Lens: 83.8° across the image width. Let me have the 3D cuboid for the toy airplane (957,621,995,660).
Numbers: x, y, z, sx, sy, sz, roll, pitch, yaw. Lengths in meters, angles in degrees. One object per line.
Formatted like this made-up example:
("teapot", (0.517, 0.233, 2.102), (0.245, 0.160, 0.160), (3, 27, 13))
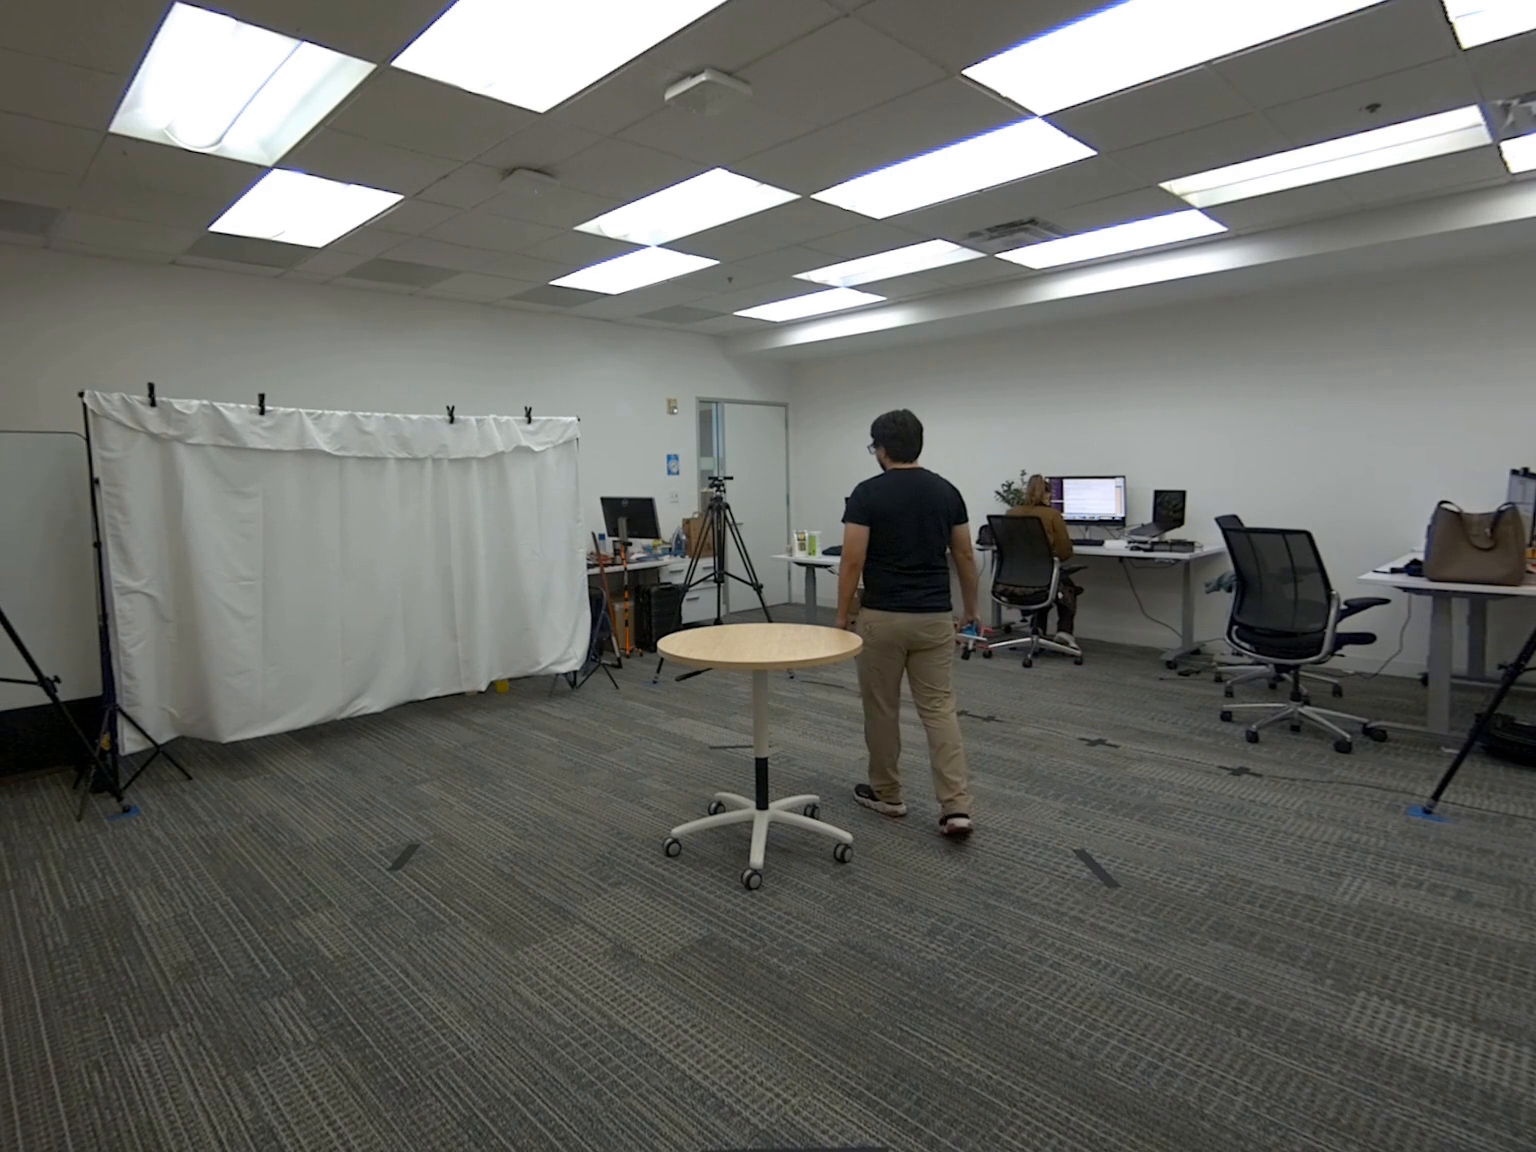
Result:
("toy airplane", (0.873, 0.269, 3.648), (0.245, 0.158, 0.263), (19, -18, -24))
